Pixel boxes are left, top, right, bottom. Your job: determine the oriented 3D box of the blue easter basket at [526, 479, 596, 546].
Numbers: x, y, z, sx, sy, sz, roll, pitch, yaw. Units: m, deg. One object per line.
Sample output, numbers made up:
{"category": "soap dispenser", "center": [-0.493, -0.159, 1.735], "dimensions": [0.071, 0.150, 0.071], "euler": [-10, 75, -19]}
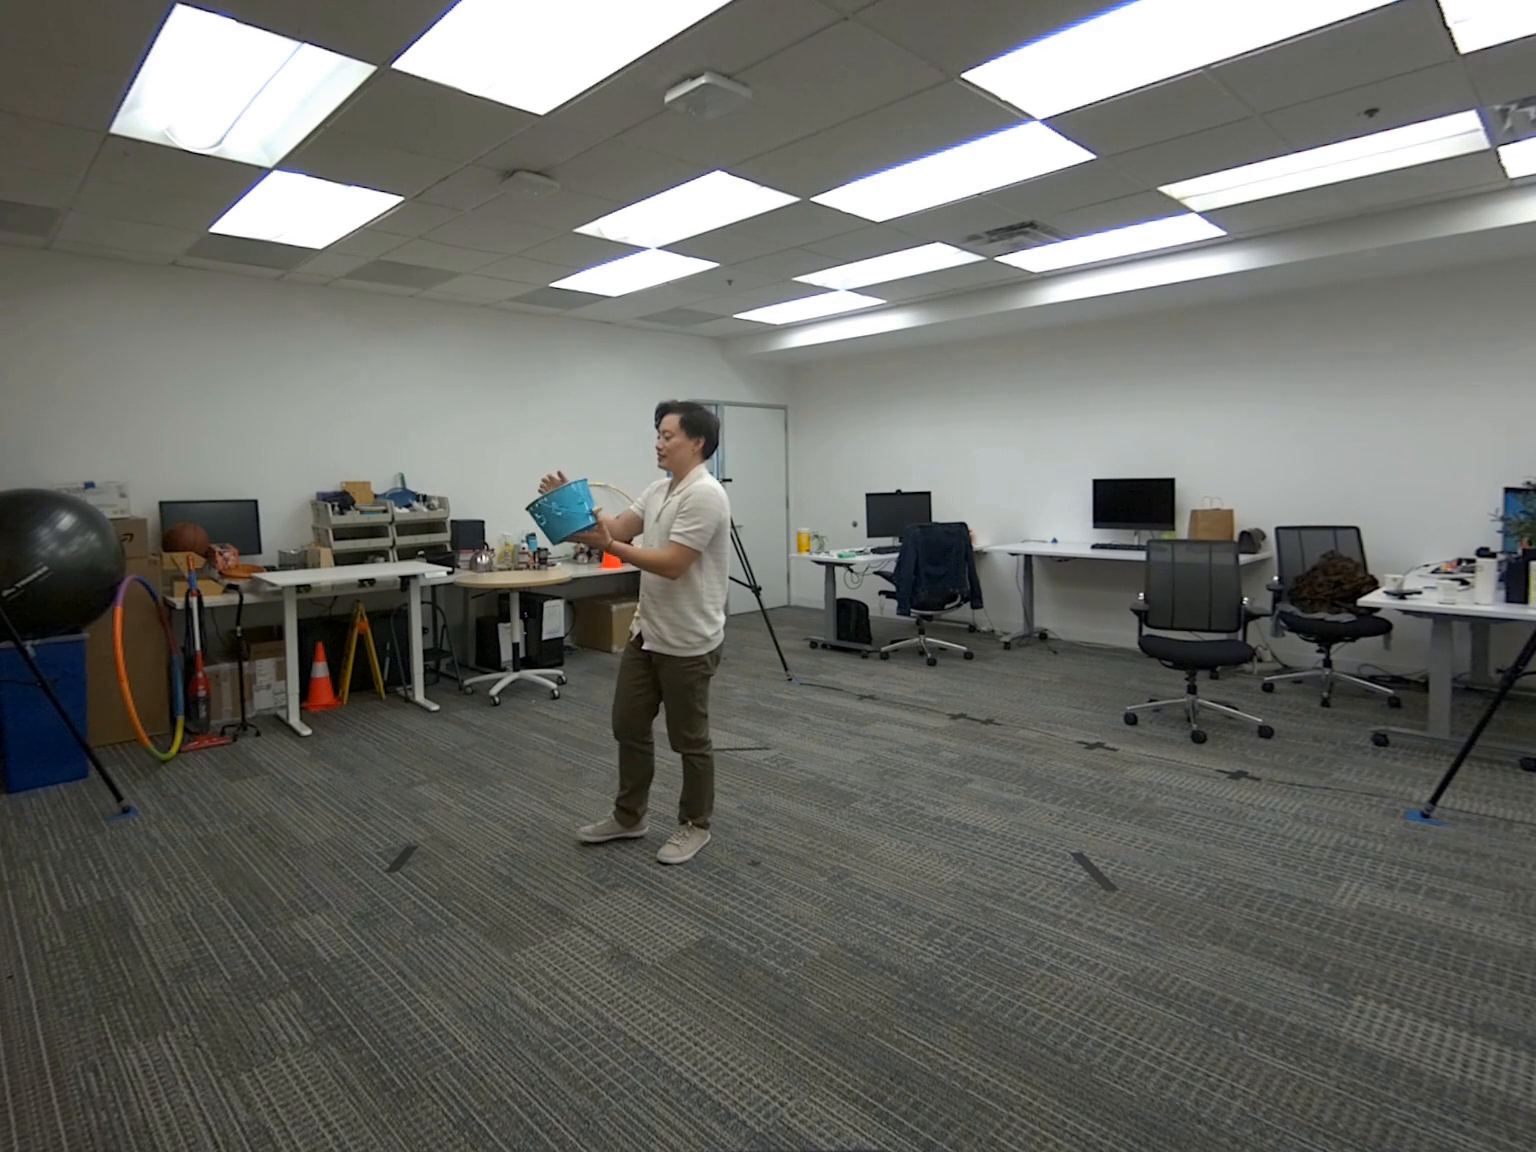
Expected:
{"category": "blue easter basket", "center": [-0.690, -0.211, 2.900], "dimensions": [0.243, 0.156, 0.244], "euler": [-29, 3, -1]}
